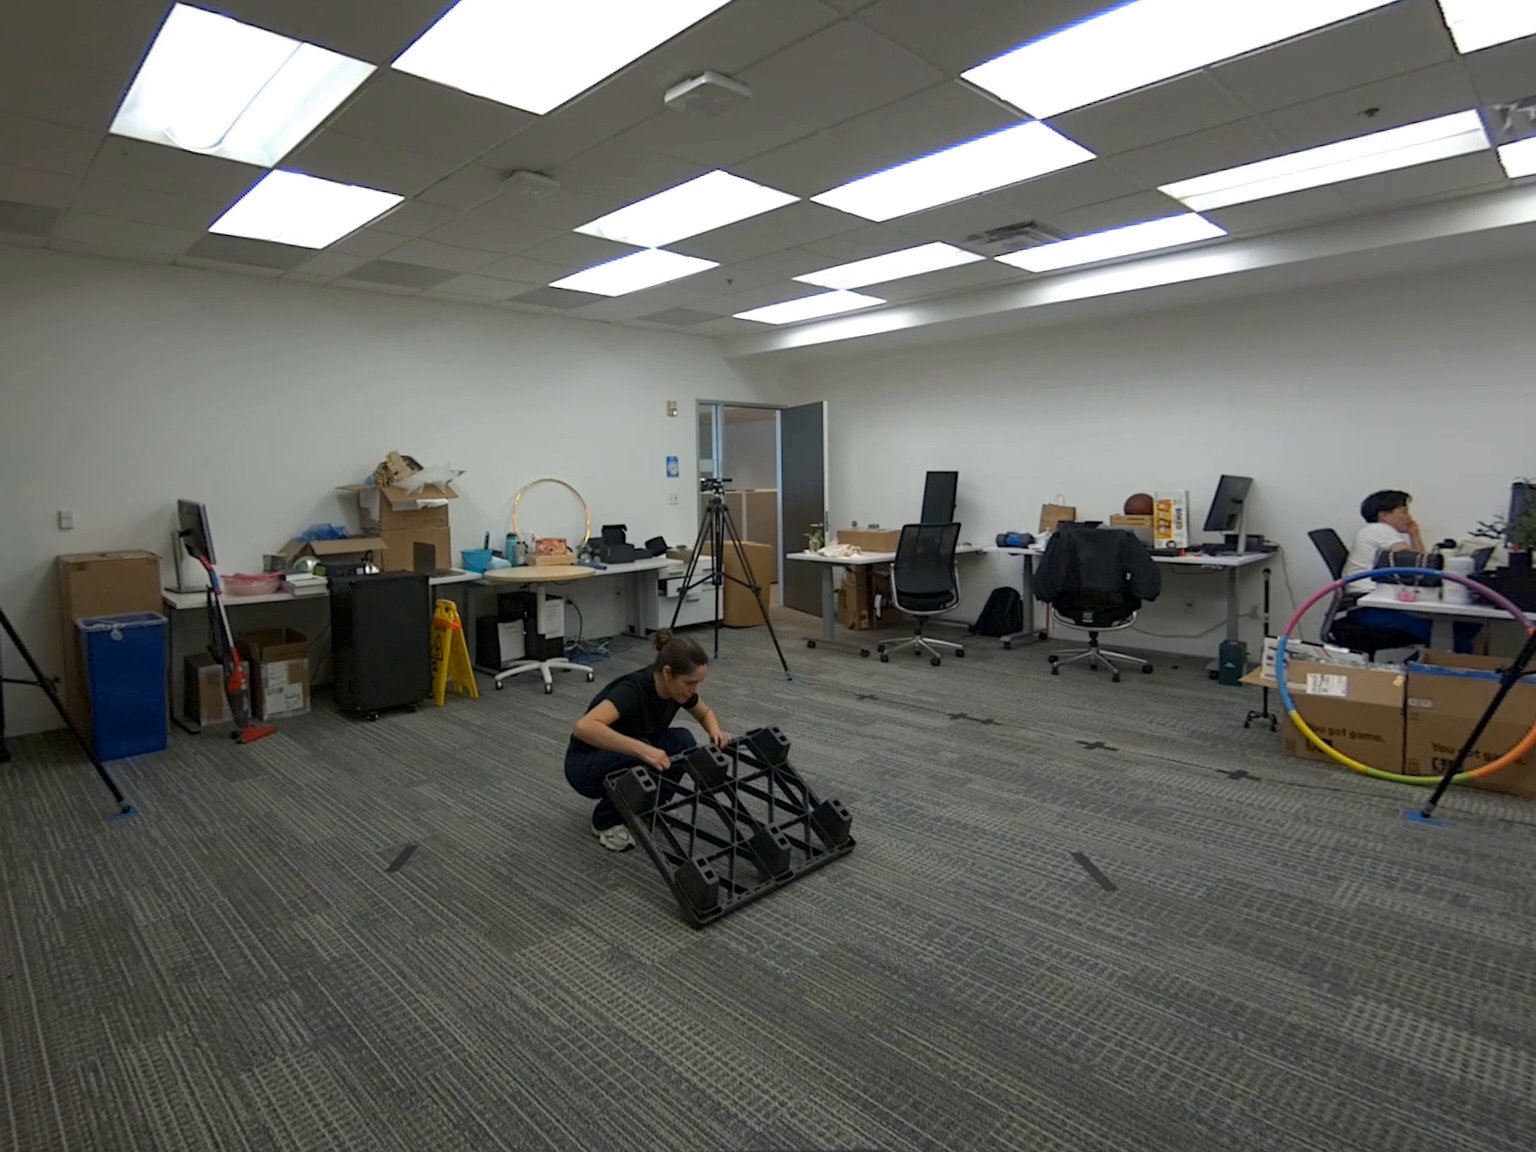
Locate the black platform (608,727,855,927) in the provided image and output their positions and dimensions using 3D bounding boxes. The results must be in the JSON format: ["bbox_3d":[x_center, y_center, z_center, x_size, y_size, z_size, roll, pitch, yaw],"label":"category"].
[{"bbox_3d":[-0.106,0.821,3.064,0.785,0.142,0.627,-7,44,-45],"label":"black platform"}]
